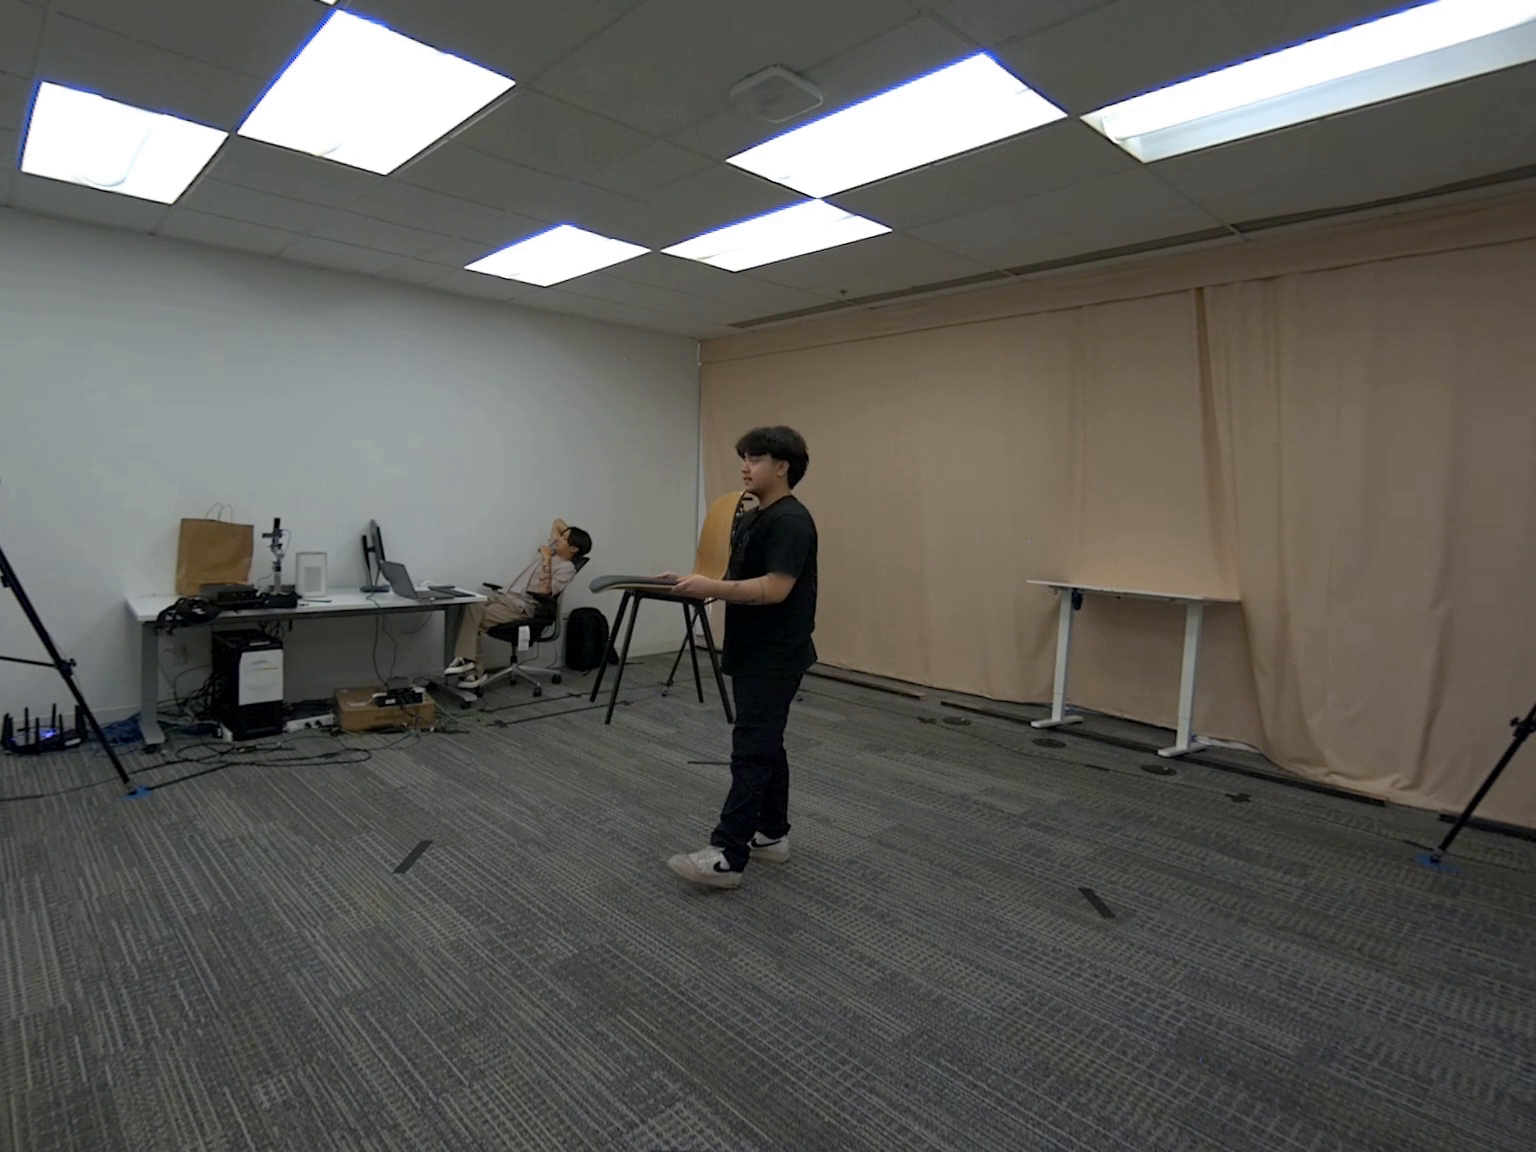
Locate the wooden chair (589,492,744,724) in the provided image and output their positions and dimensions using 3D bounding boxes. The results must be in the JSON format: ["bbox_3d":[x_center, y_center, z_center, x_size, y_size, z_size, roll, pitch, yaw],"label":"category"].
[{"bbox_3d":[-0.391,0.085,3.090,0.515,0.878,0.484,7,-2,-18],"label":"wooden chair"}]
